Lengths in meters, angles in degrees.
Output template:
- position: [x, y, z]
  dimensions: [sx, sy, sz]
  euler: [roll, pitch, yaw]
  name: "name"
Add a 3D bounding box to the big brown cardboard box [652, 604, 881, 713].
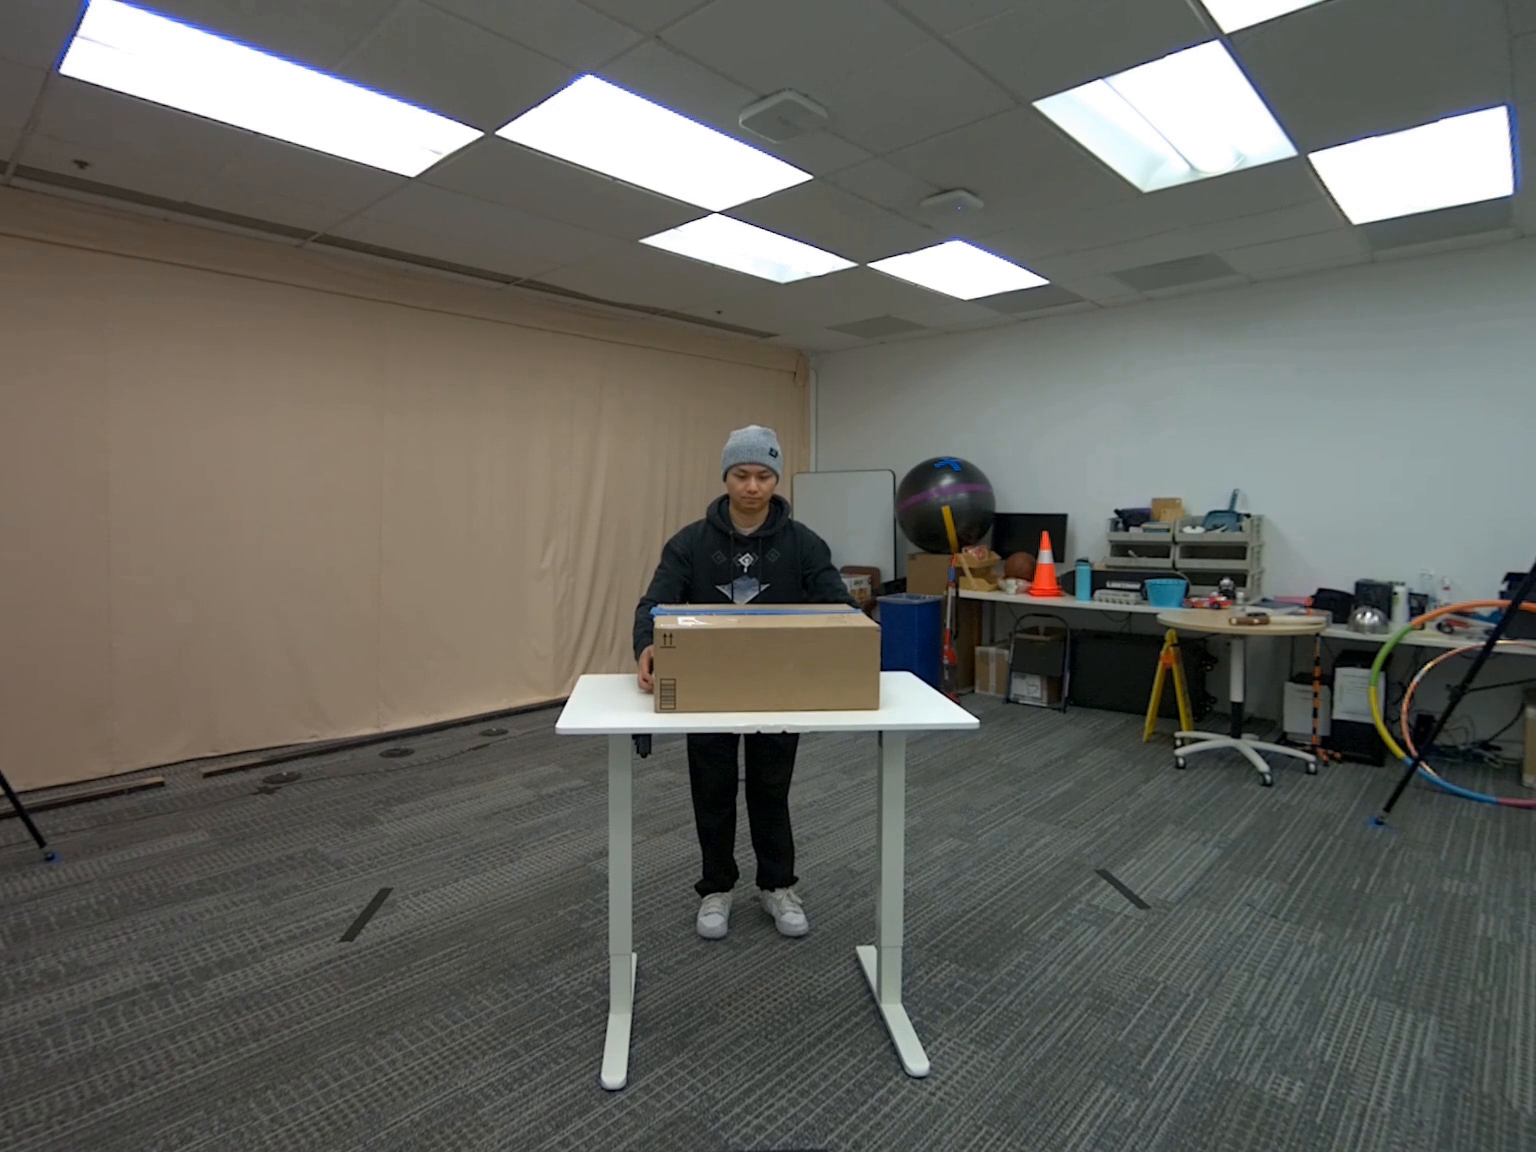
- position: [-0.027, 0.210, 2.299]
  dimensions: [0.586, 0.232, 0.421]
  euler: [1, 5, -5]
  name: "big brown cardboard box"
